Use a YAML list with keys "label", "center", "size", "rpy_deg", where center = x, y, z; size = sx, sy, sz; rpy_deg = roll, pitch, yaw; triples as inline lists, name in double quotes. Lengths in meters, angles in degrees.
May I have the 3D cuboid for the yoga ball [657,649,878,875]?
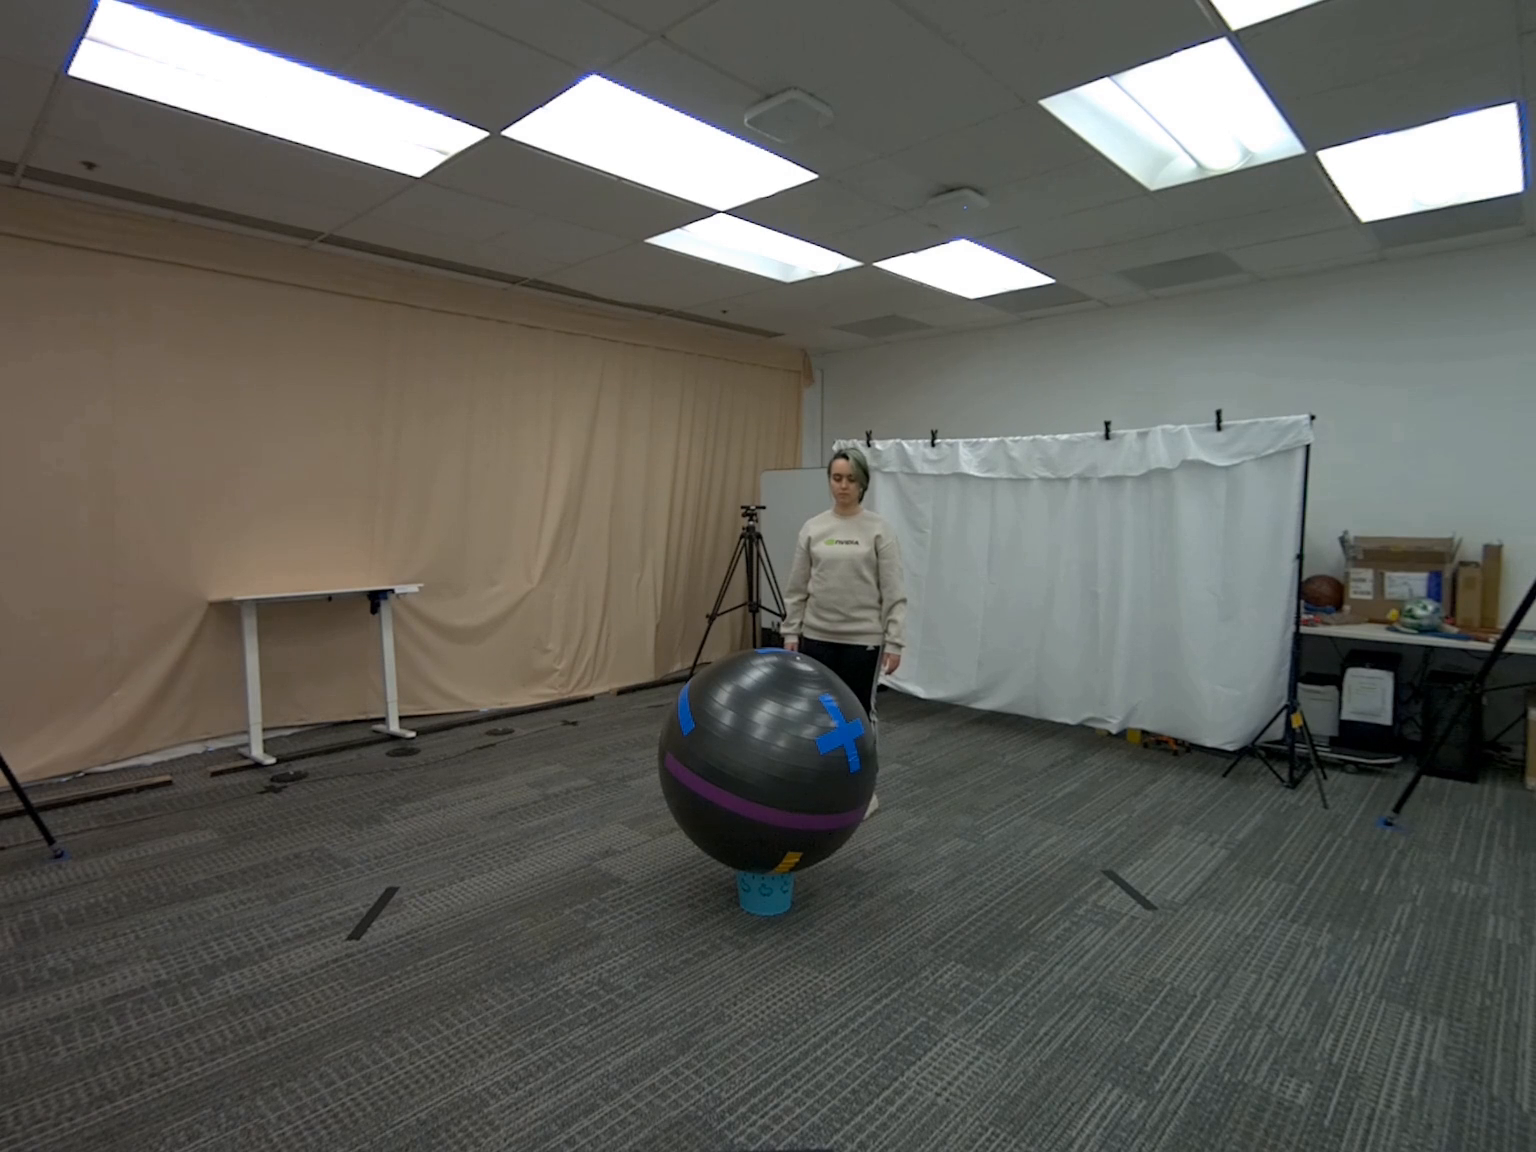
- label: "yoga ball"
  center: [-0.002, 0.636, 2.925]
  size: [0.757, 0.756, 0.760]
  rpy_deg: [0, 4, -2]
